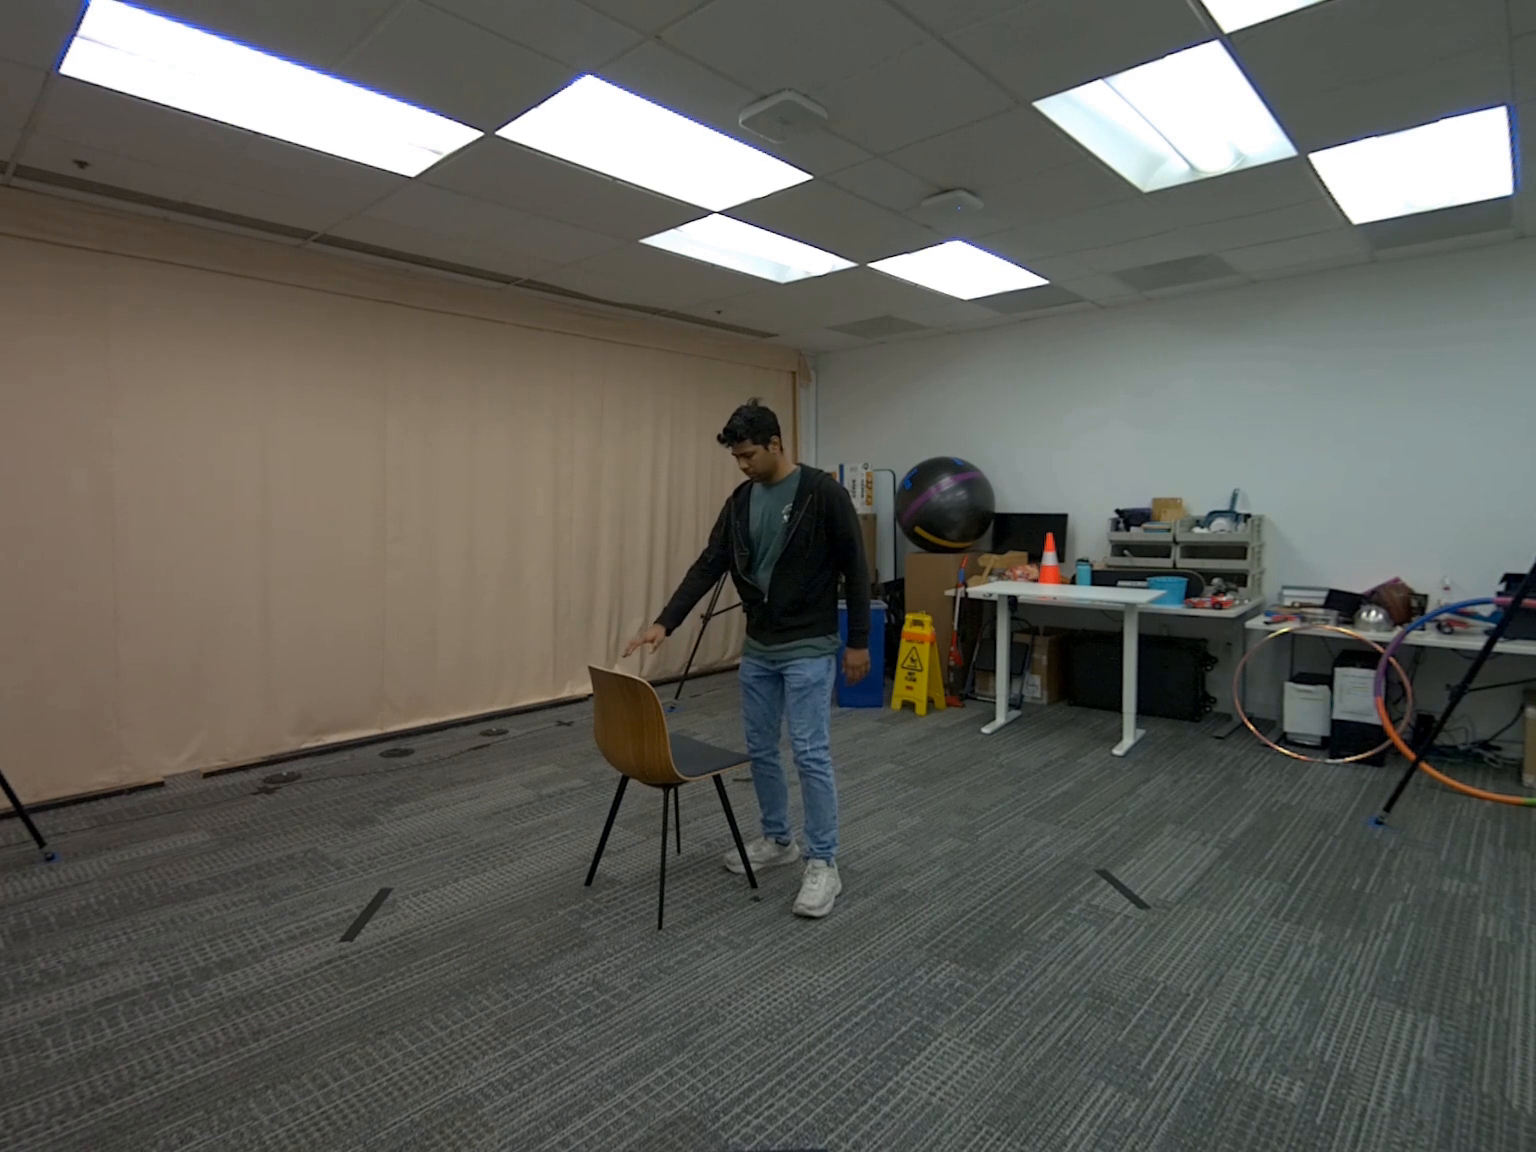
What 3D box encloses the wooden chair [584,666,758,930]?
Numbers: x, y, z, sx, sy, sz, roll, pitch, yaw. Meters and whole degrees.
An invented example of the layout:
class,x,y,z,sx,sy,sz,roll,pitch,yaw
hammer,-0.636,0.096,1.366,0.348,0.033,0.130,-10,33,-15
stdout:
class,x,y,z,sx,sy,sz,roll,pitch,yaw
wooden chair,-0.346,0.713,3.053,0.508,0.874,0.494,-9,8,-44
